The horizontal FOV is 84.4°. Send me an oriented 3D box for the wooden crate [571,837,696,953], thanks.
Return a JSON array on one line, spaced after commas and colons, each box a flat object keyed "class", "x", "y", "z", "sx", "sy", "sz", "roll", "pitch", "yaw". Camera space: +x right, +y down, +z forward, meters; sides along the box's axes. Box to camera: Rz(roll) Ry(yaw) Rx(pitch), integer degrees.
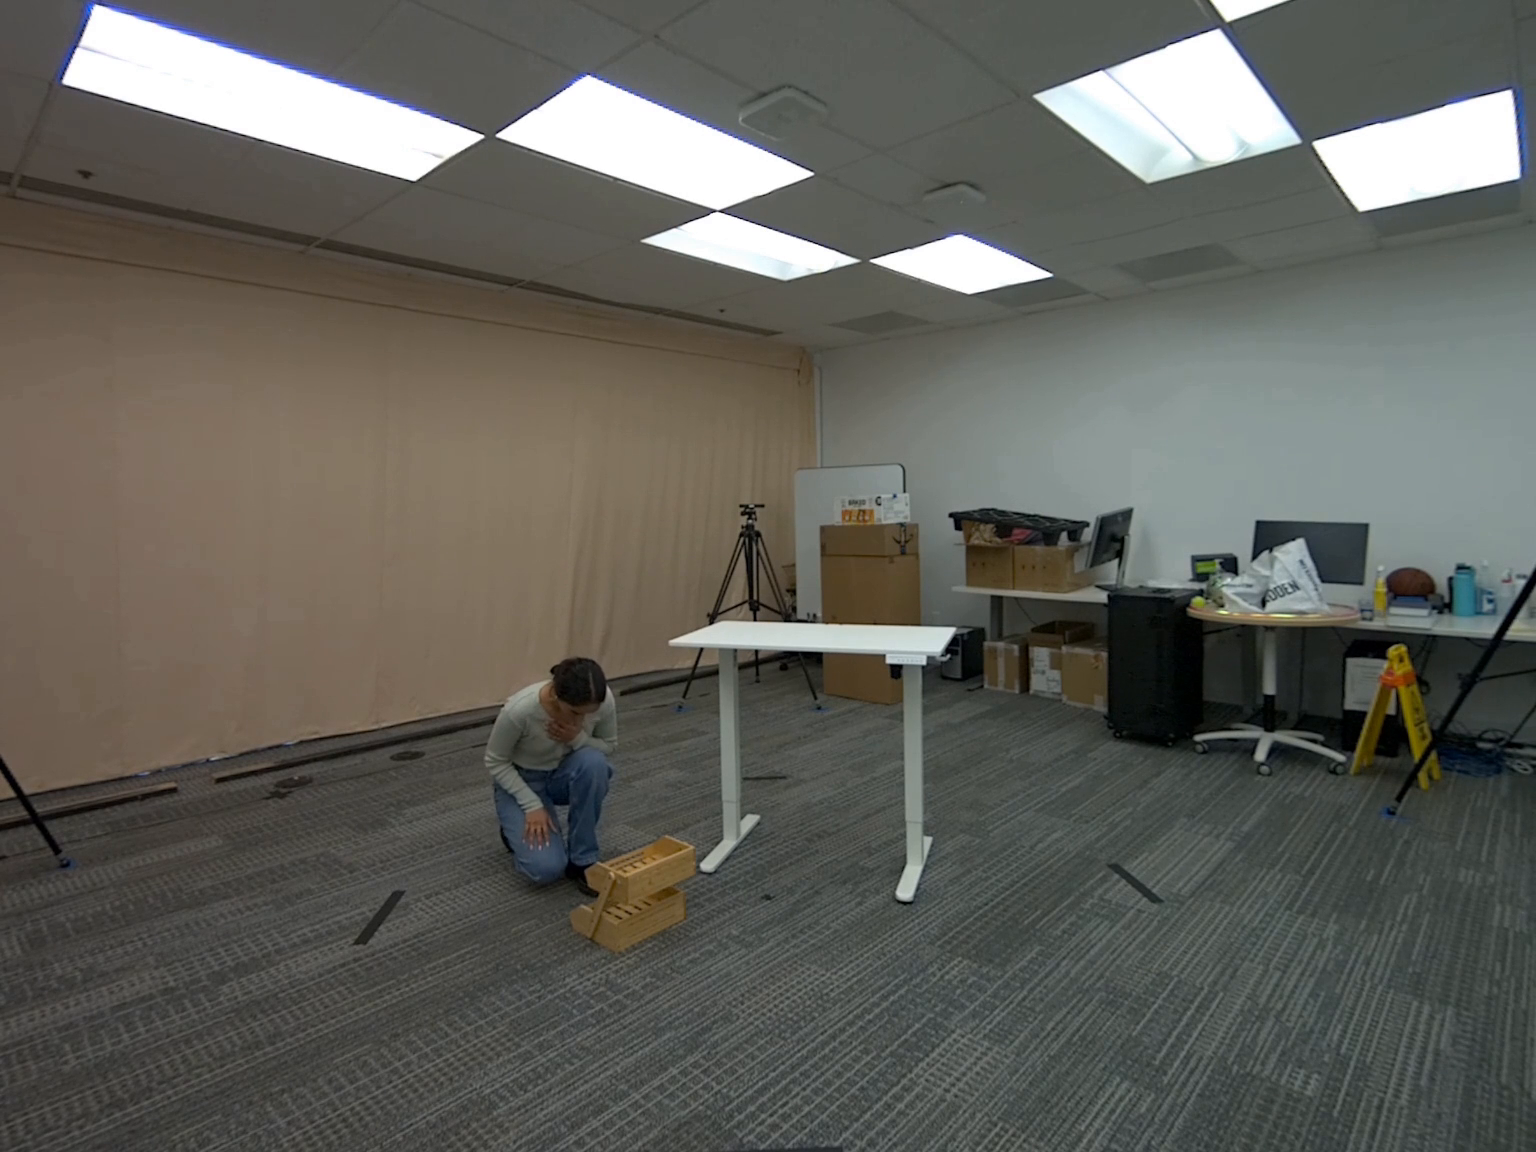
[{"class": "wooden crate", "x": -0.450, "y": 1.031, "z": 2.795, "sx": 0.312, "sy": 0.272, "sz": 0.314, "roll": 3, "pitch": 6, "yaw": 43}]
